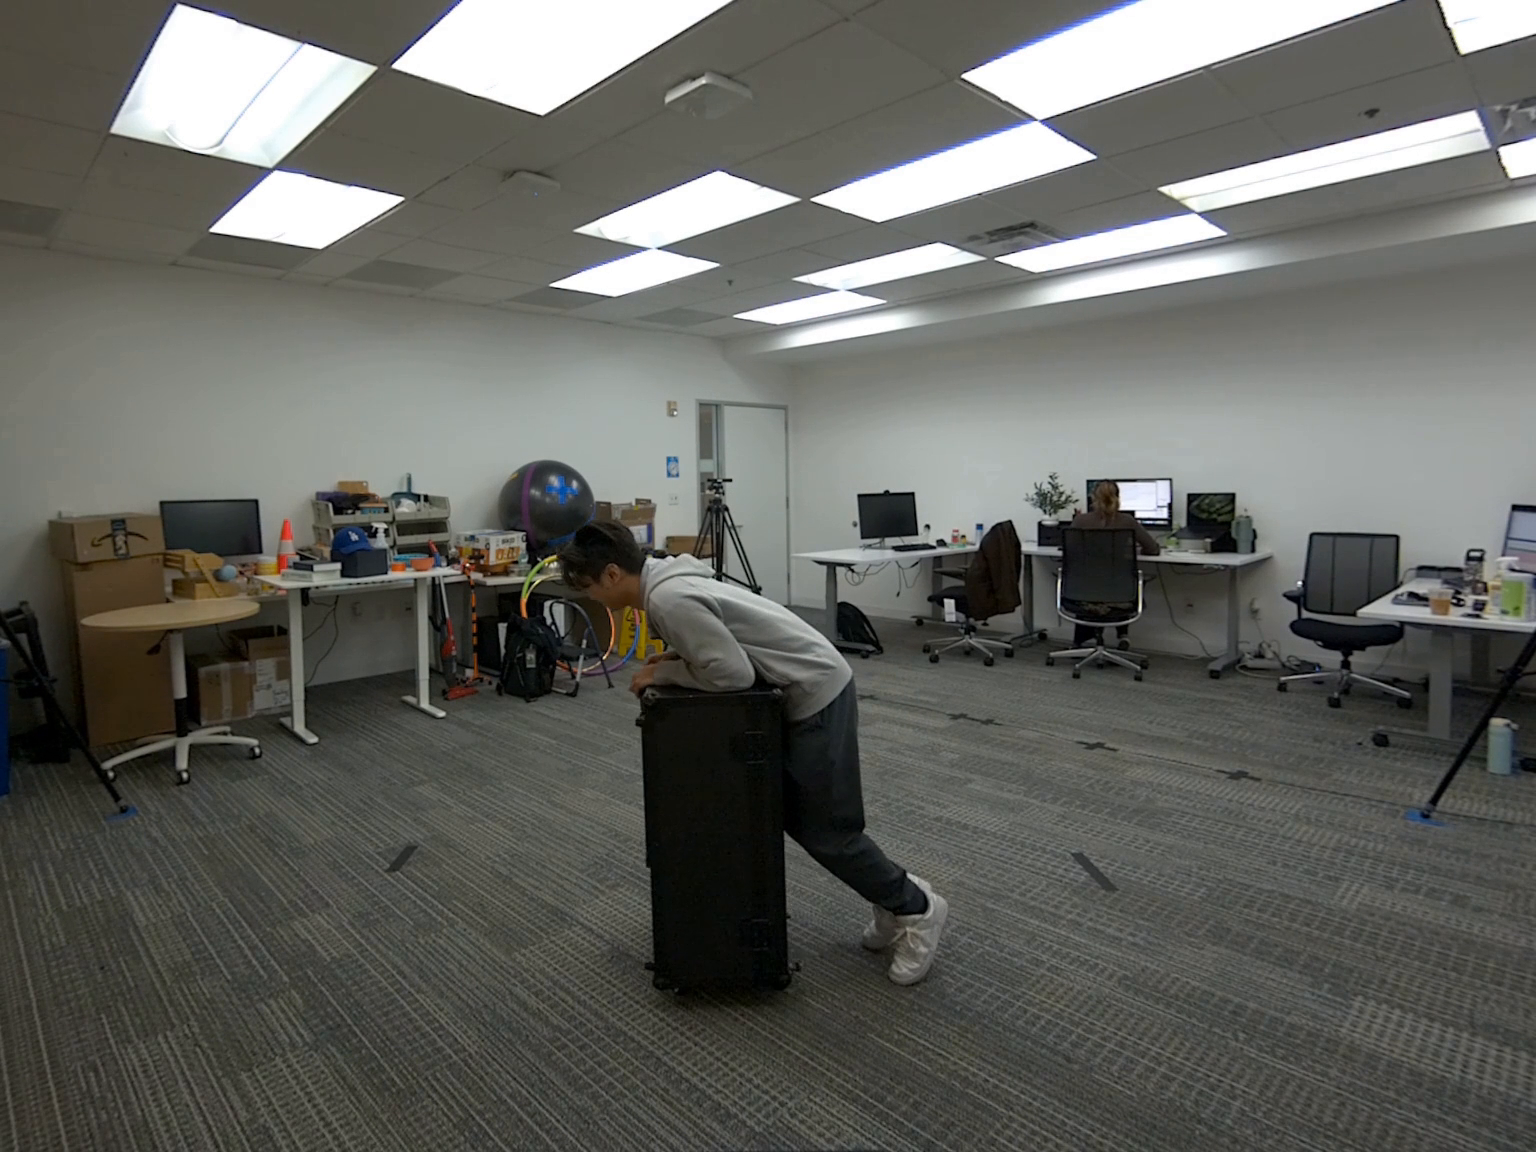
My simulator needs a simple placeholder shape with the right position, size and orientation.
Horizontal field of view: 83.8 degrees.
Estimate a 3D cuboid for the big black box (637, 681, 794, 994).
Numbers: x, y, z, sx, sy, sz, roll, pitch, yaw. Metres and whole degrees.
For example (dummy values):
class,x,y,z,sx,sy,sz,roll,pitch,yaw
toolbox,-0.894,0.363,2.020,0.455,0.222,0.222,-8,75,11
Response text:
class,x,y,z,sx,sy,sz,roll,pitch,yaw
big black box,-0.153,0.708,2.438,0.395,0.858,0.525,-3,5,-4
